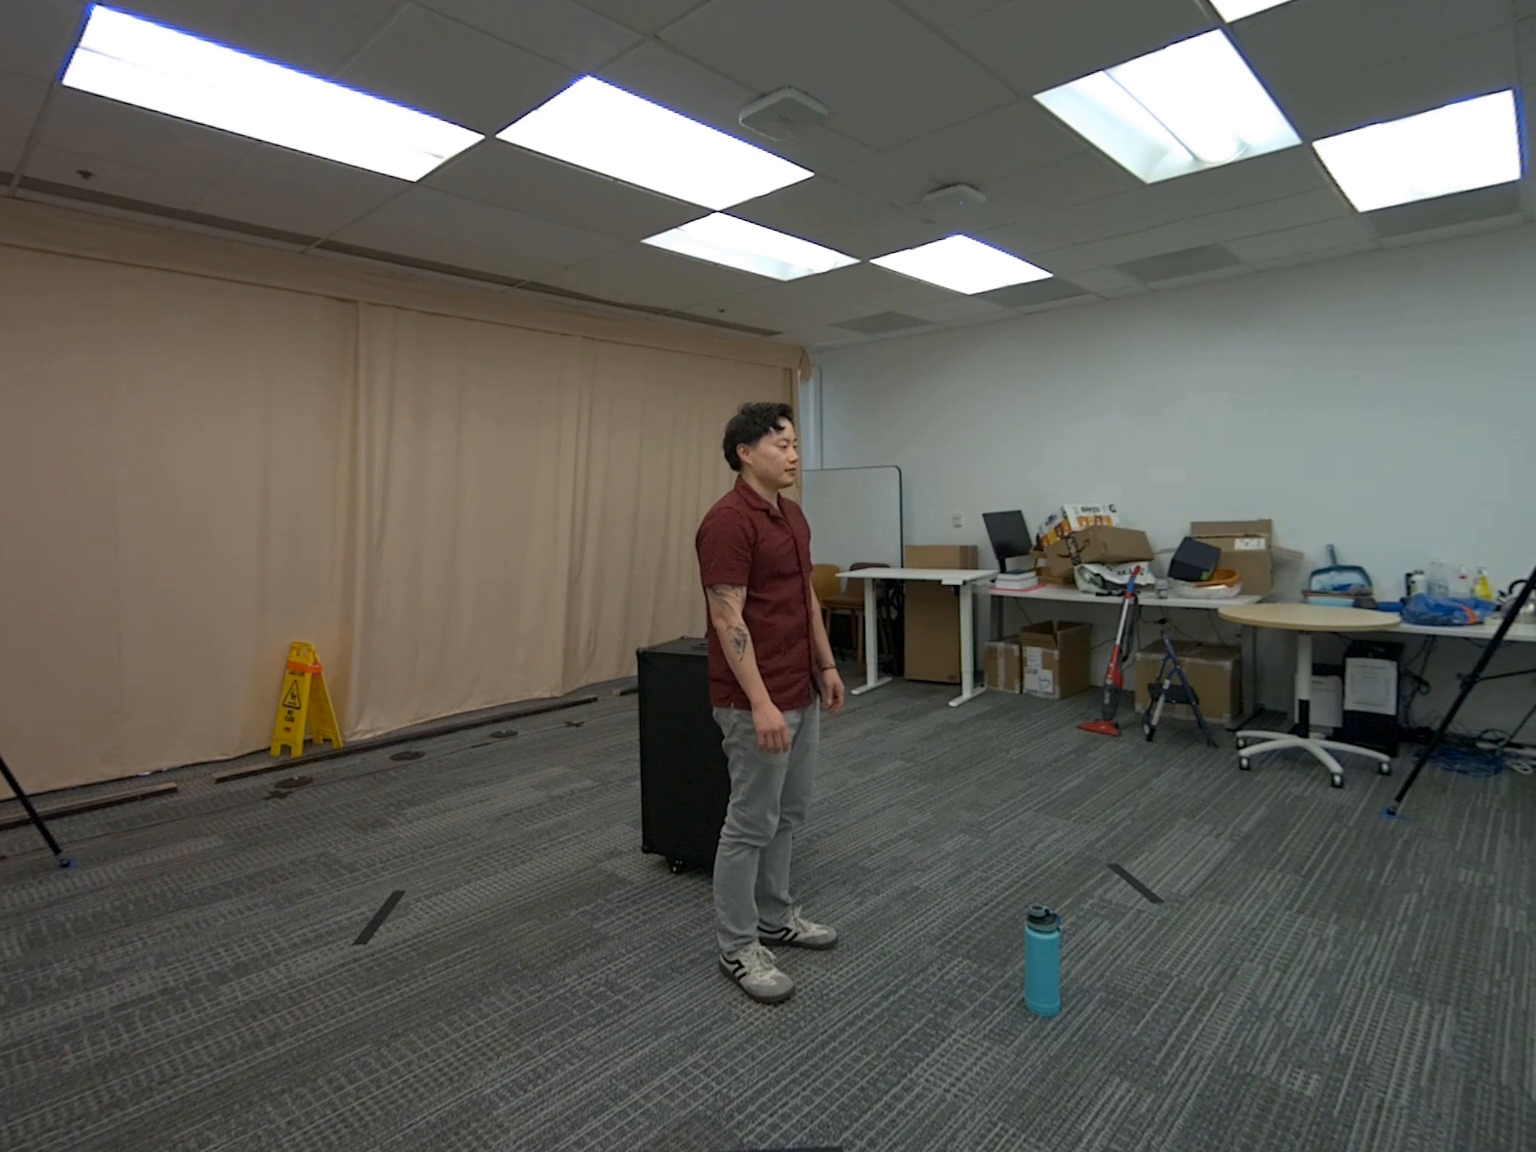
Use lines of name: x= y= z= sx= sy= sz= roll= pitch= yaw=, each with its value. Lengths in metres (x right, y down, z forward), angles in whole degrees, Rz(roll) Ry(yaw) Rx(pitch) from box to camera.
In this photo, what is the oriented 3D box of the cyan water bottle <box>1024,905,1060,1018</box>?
cyan water bottle: x=0.762 y=1.049 z=2.290 sx=0.092 sy=0.283 sz=0.092 roll=1 pitch=2 yaw=-2
